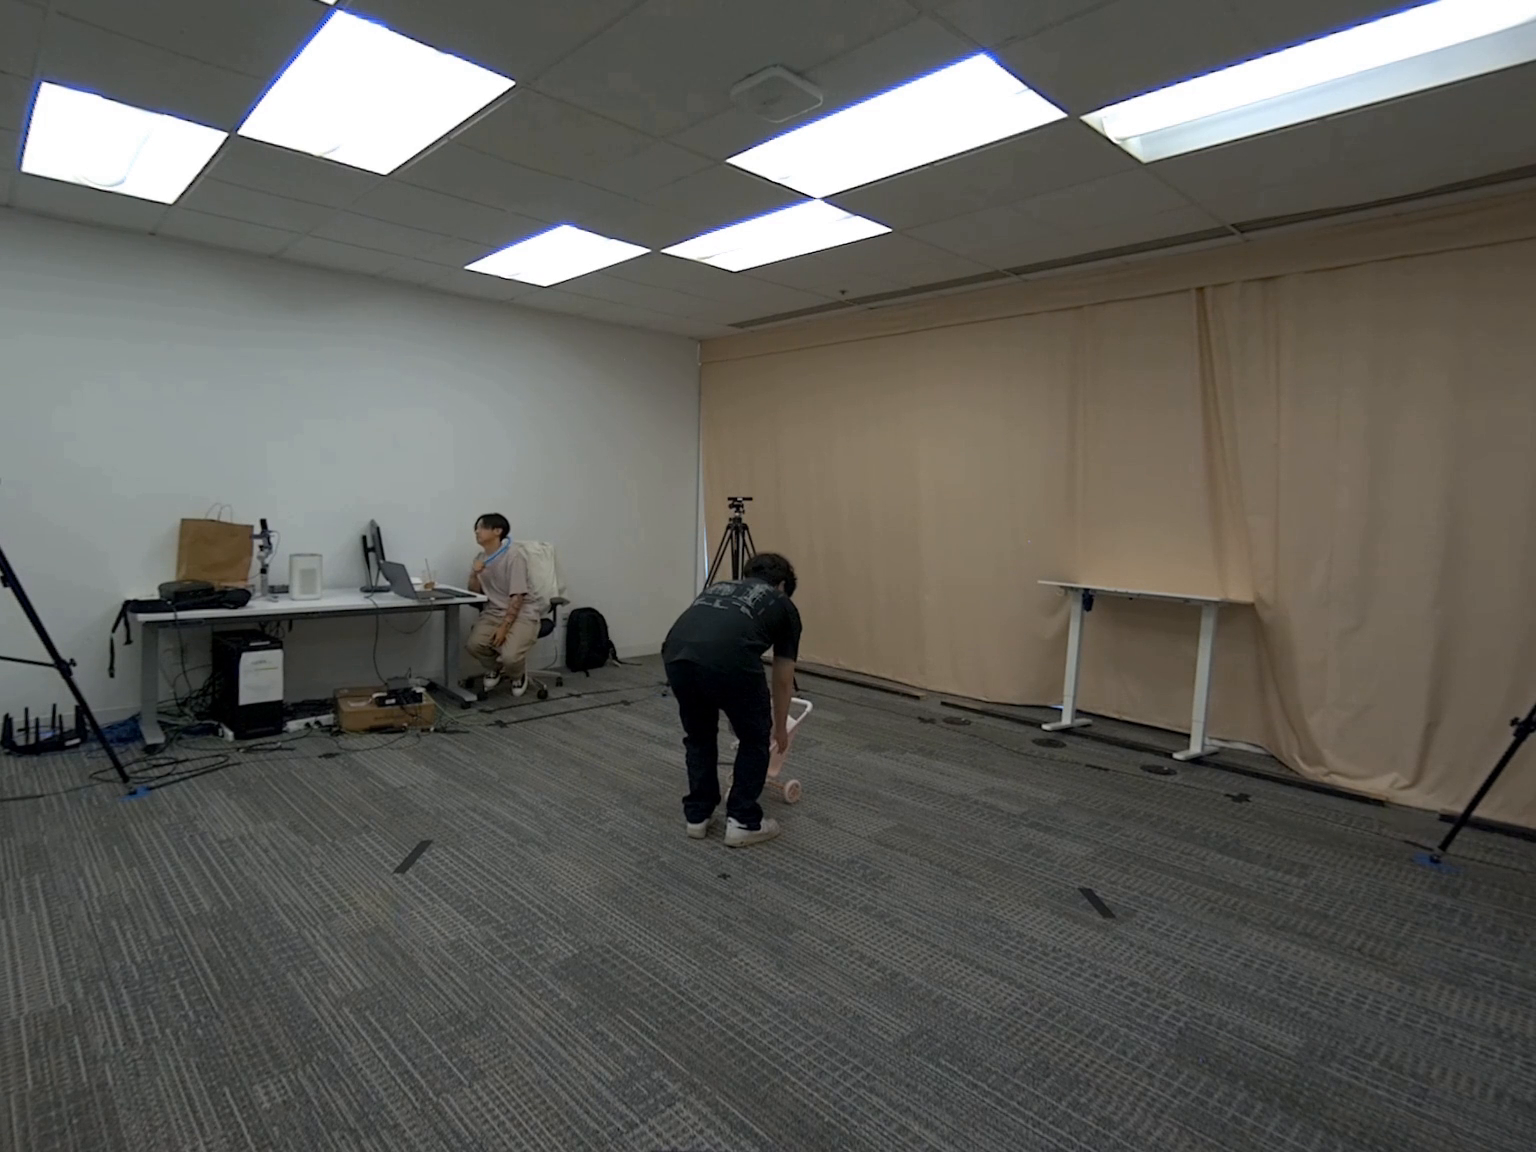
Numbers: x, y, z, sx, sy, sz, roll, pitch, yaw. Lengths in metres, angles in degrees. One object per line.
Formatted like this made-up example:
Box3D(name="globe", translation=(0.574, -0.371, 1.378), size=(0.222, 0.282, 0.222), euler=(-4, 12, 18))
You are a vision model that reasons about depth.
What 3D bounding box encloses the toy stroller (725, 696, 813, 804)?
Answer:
Box3D(name="toy stroller", translation=(-0.028, 0.817, 3.942), size=(0.332, 0.537, 0.288), euler=(18, -7, -35))
